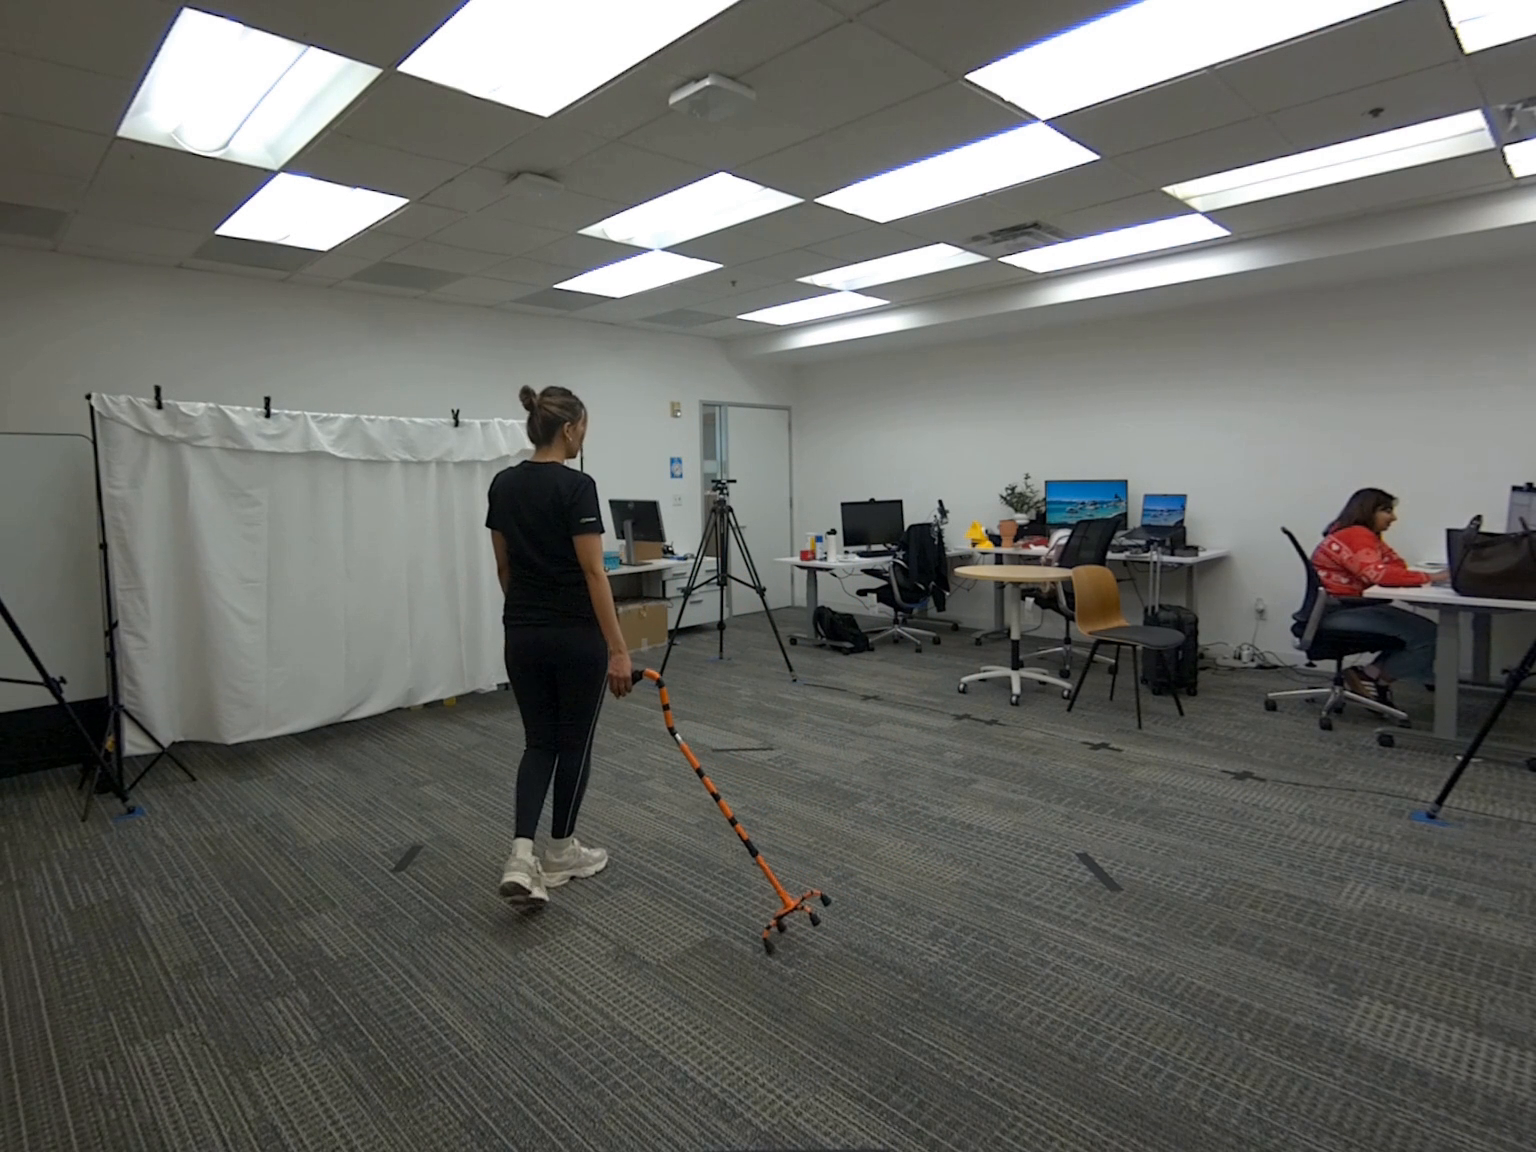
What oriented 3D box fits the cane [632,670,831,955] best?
[{"bbox_3d":[-0.155,0.683,2.620,0.207,0.918,0.149,-39,-9,22],"label":"cane"}]
